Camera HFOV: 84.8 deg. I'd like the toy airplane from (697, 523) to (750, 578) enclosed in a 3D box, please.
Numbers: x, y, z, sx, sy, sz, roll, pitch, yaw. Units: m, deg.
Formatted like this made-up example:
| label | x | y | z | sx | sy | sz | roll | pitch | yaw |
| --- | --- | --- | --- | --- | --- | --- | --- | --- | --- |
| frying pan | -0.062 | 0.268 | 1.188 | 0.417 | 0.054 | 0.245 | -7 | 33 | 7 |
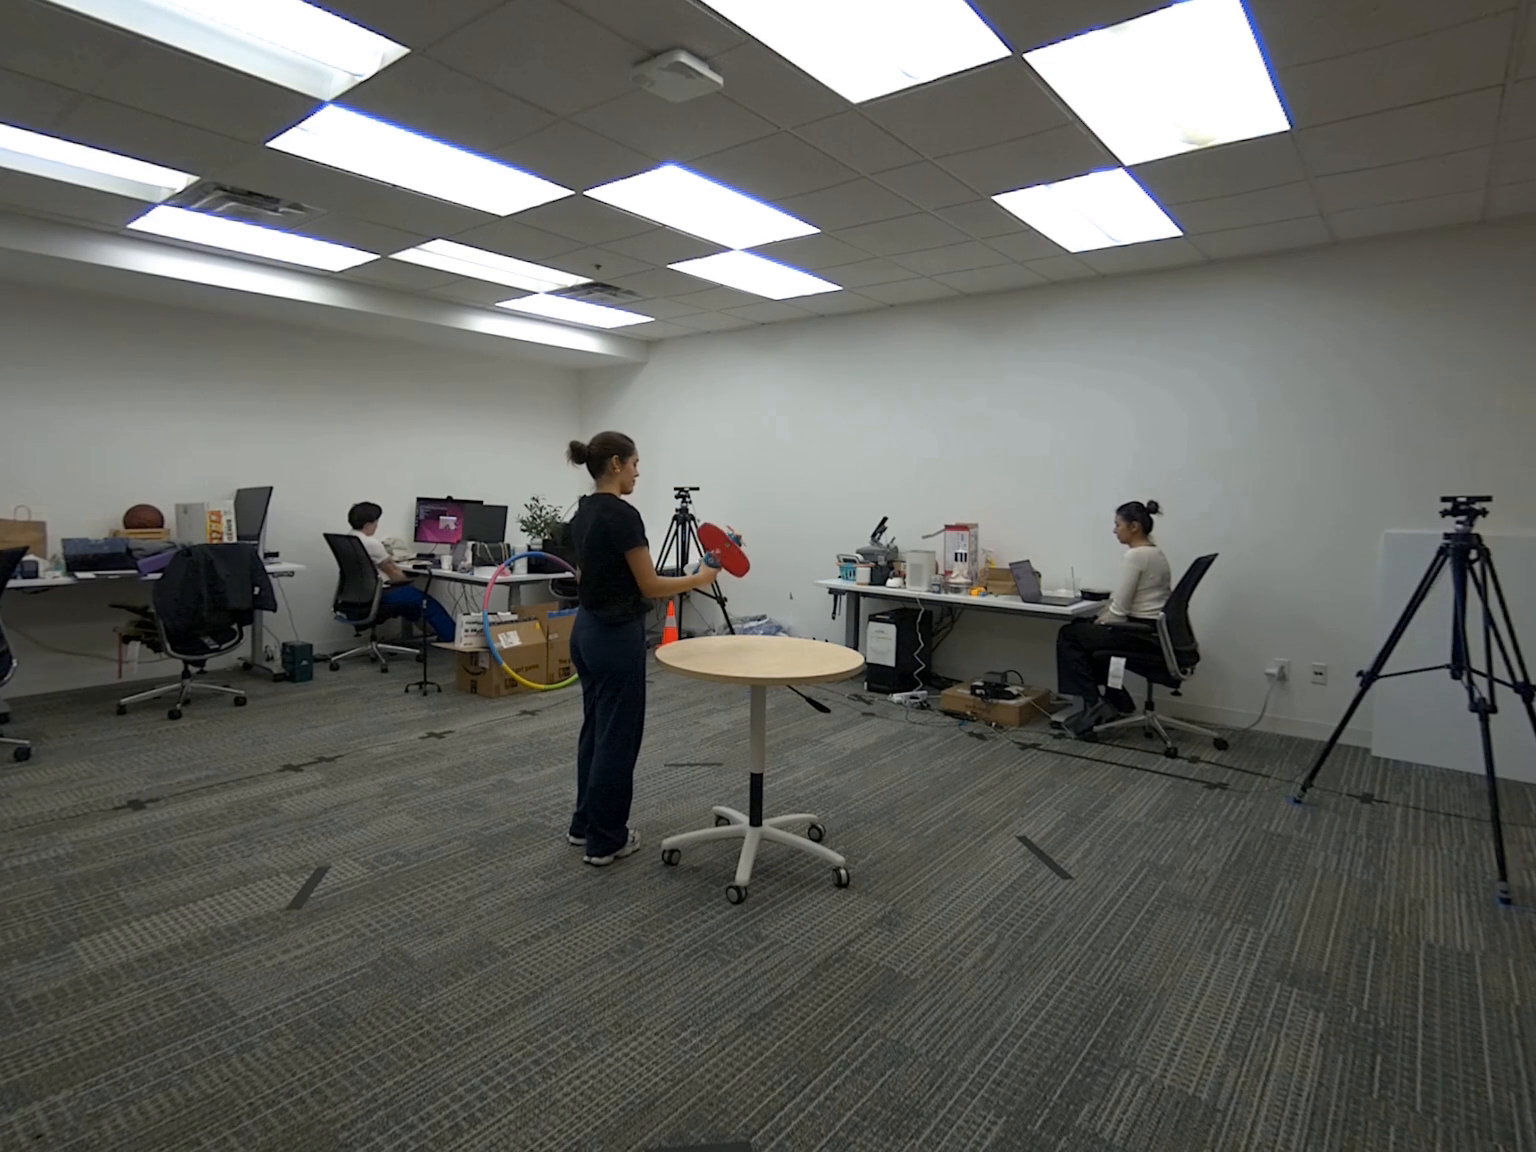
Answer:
| label | x | y | z | sx | sy | sz | roll | pitch | yaw |
| --- | --- | --- | --- | --- | --- | --- | --- | --- | --- |
| toy airplane | -0.179 | -0.069 | 3.373 | 0.249 | 0.261 | 0.156 | 24 | -17 | -6 |
